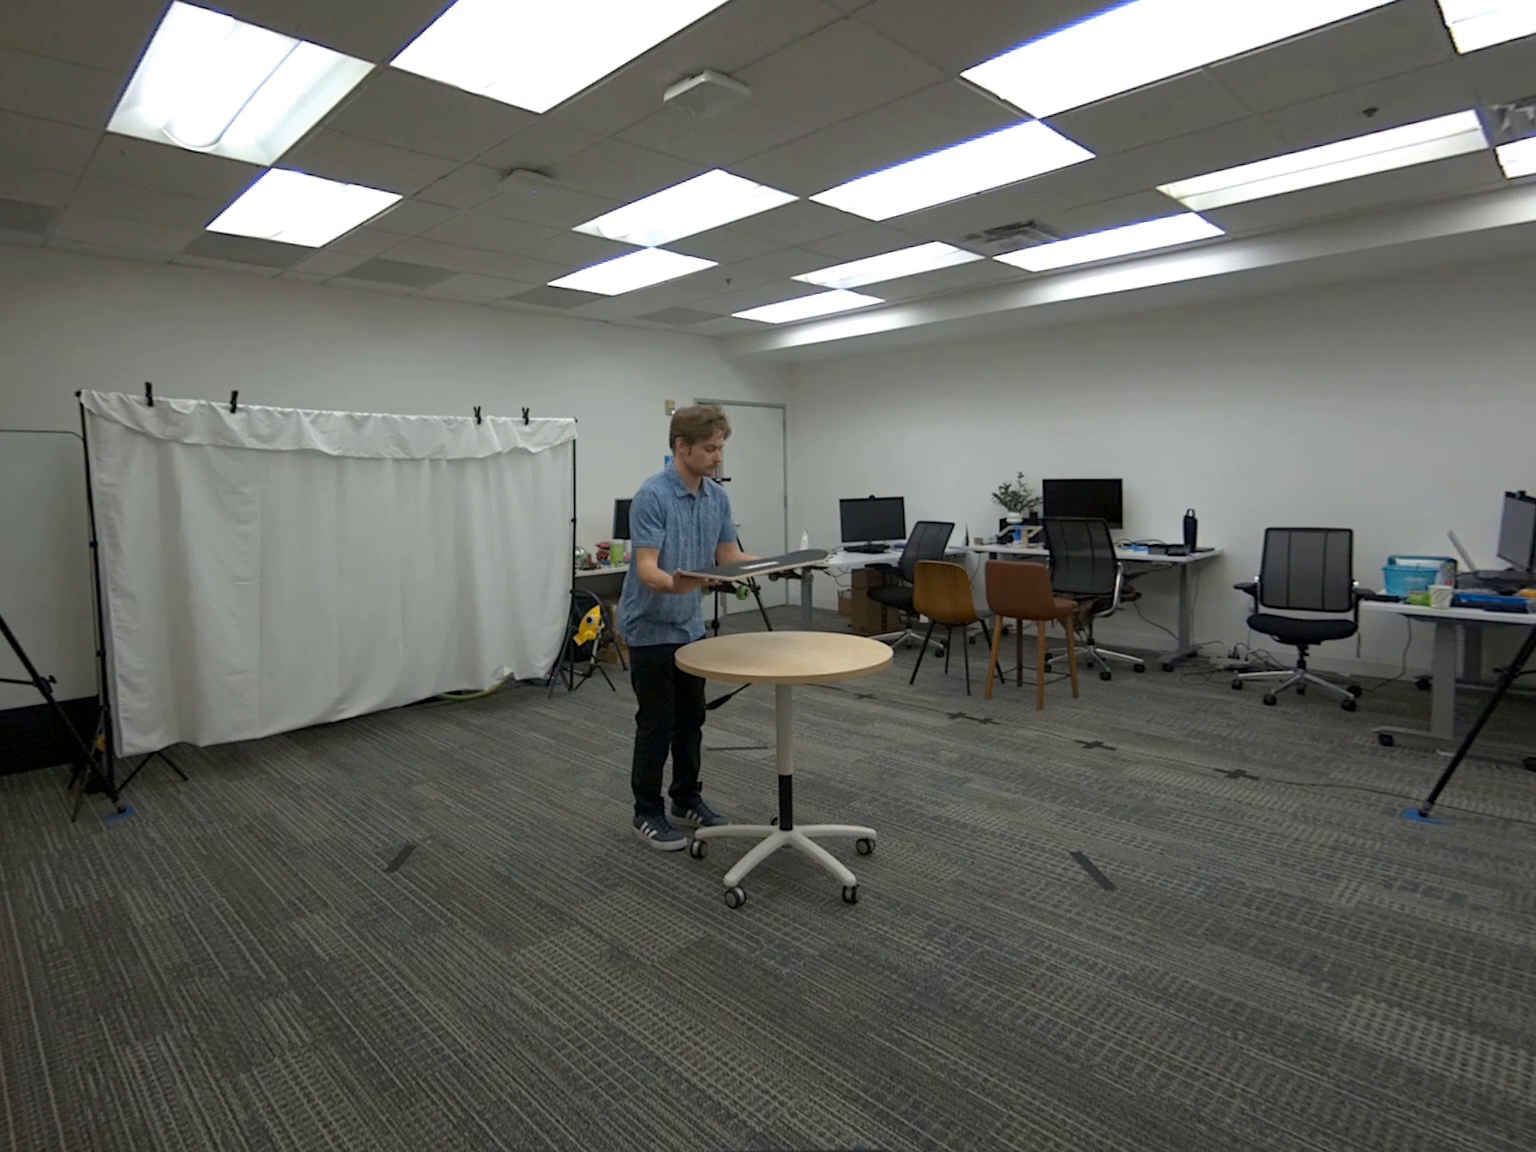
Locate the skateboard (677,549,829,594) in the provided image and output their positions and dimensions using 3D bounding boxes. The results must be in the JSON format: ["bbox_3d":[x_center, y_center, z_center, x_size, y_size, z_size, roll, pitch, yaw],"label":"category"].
[{"bbox_3d":[-0.034,-0.003,3.040,0.199,0.109,0.766,6,10,38],"label":"skateboard"}]
